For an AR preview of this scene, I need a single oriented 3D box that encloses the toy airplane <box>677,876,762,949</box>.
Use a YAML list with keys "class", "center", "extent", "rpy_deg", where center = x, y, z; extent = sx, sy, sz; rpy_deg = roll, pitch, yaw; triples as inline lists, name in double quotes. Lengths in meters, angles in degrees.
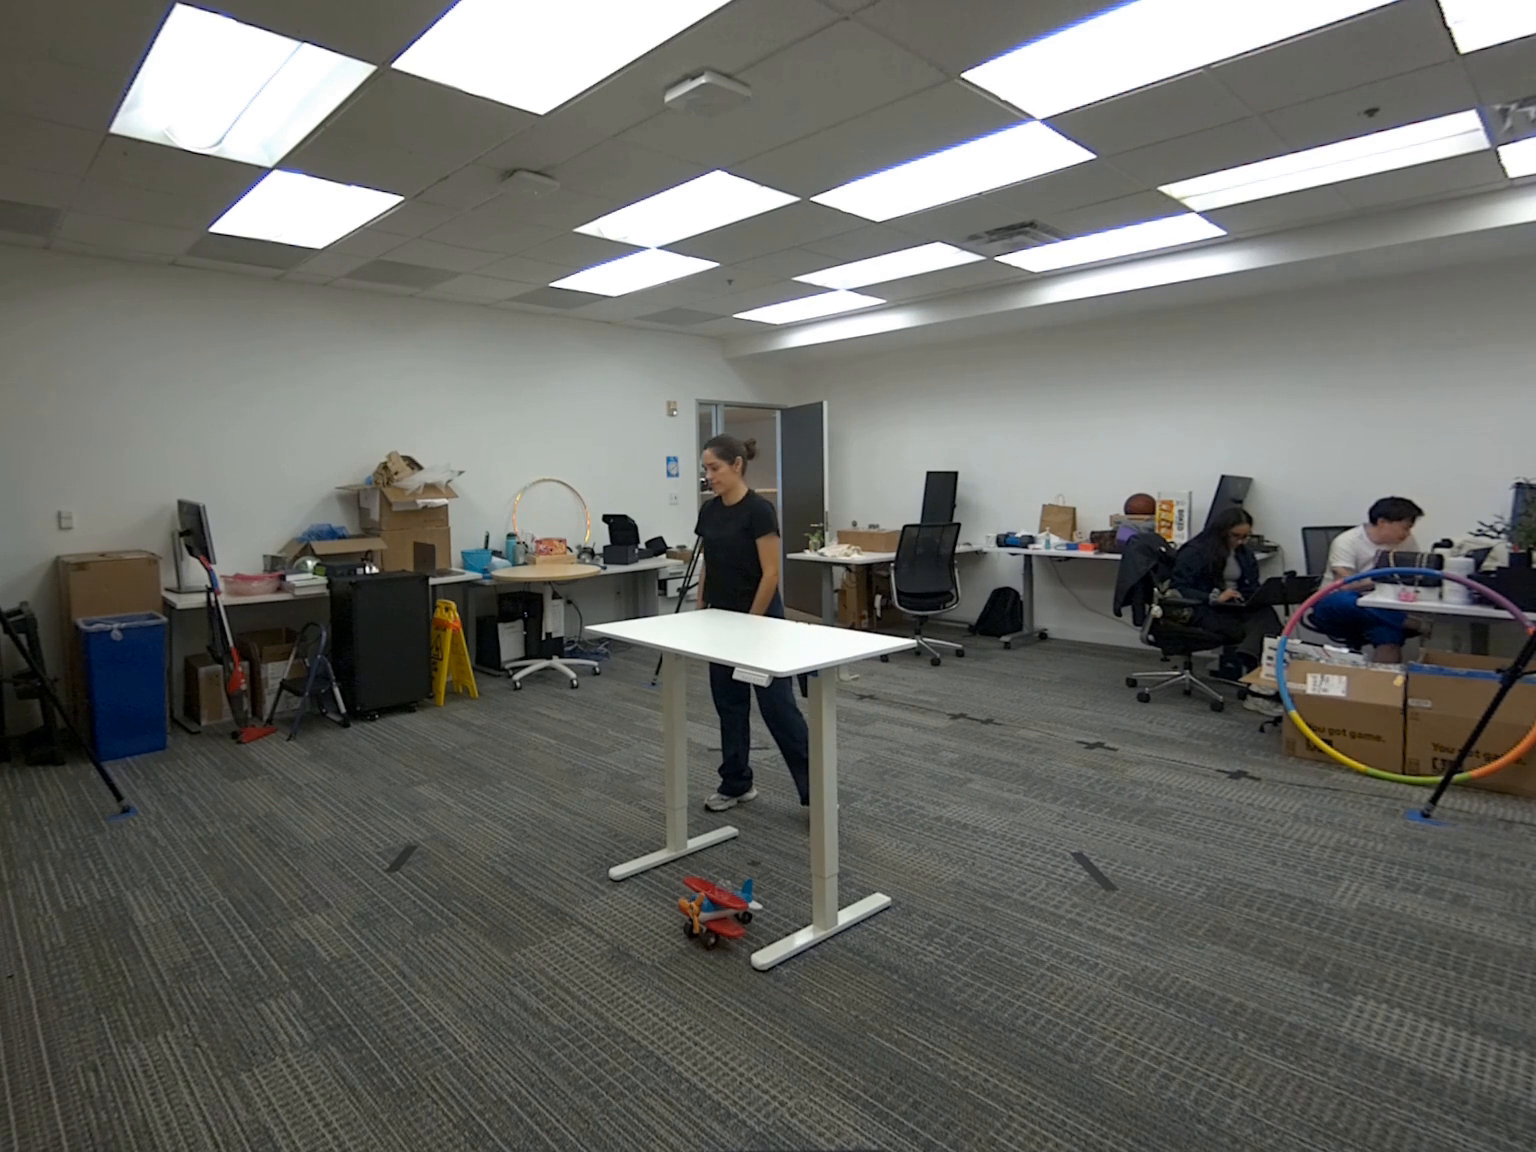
- class: "toy airplane"
  center: [-0.154, 1.031, 2.661]
  extent: [0.255, 0.155, 0.257]
  rpy_deg: [1, 9, 16]
